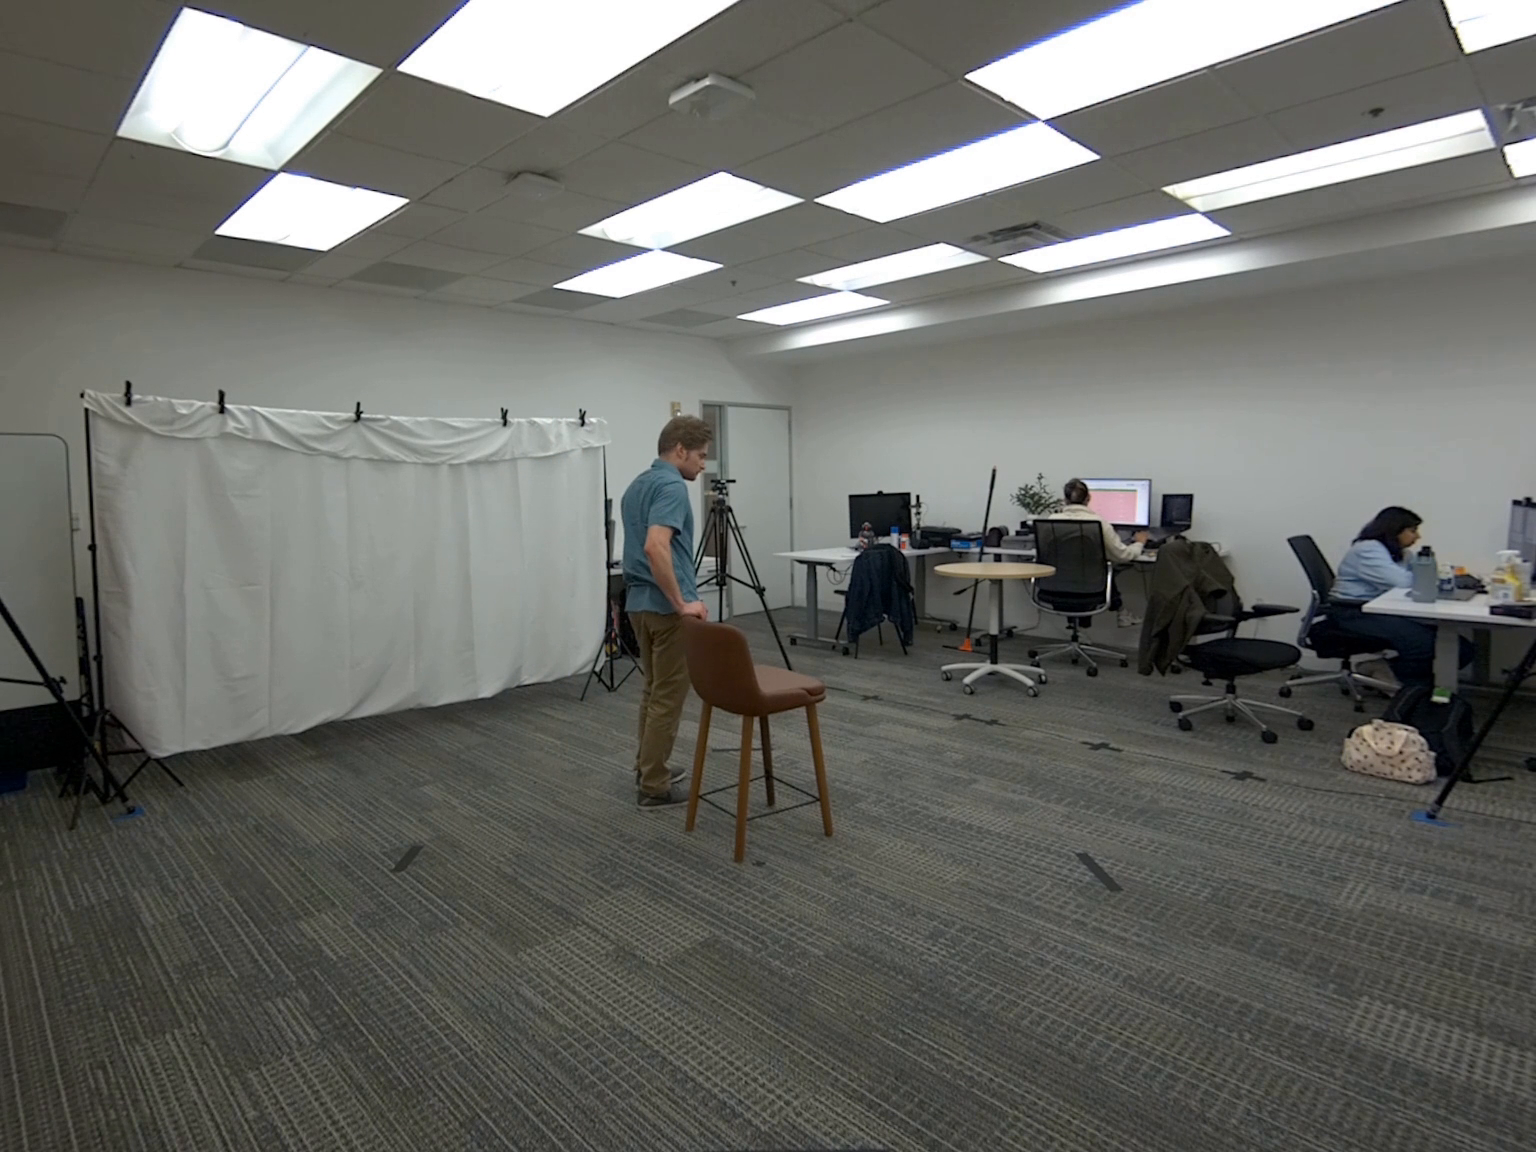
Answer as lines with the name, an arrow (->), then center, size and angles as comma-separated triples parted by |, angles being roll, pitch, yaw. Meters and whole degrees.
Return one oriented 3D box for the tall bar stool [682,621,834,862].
tall bar stool -> -0.051, 0.587, 3.359 | 0.456, 0.886, 0.470 | -6, 6, -35
